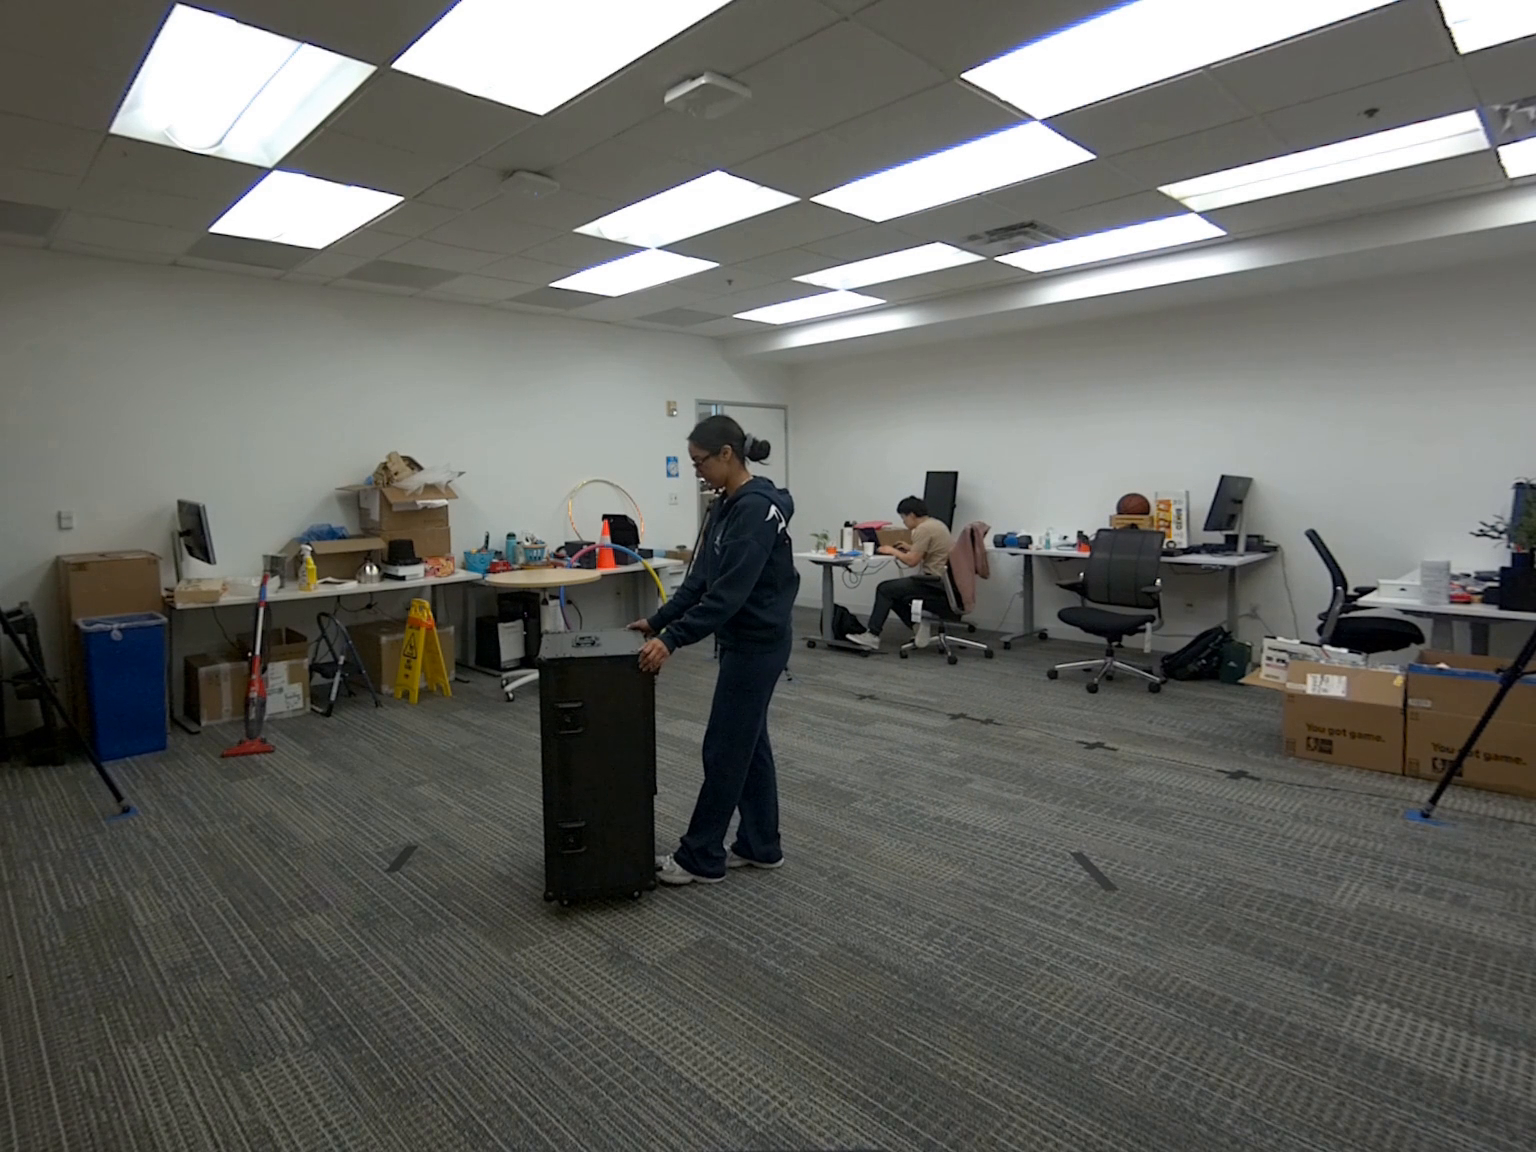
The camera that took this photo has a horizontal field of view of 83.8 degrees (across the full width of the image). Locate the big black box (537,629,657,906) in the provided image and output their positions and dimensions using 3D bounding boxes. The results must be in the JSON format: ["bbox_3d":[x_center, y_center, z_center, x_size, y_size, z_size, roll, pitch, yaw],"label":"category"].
[{"bbox_3d":[-0.587,0.643,2.958,0.392,0.859,0.529,0,3,-13],"label":"big black box"}]
